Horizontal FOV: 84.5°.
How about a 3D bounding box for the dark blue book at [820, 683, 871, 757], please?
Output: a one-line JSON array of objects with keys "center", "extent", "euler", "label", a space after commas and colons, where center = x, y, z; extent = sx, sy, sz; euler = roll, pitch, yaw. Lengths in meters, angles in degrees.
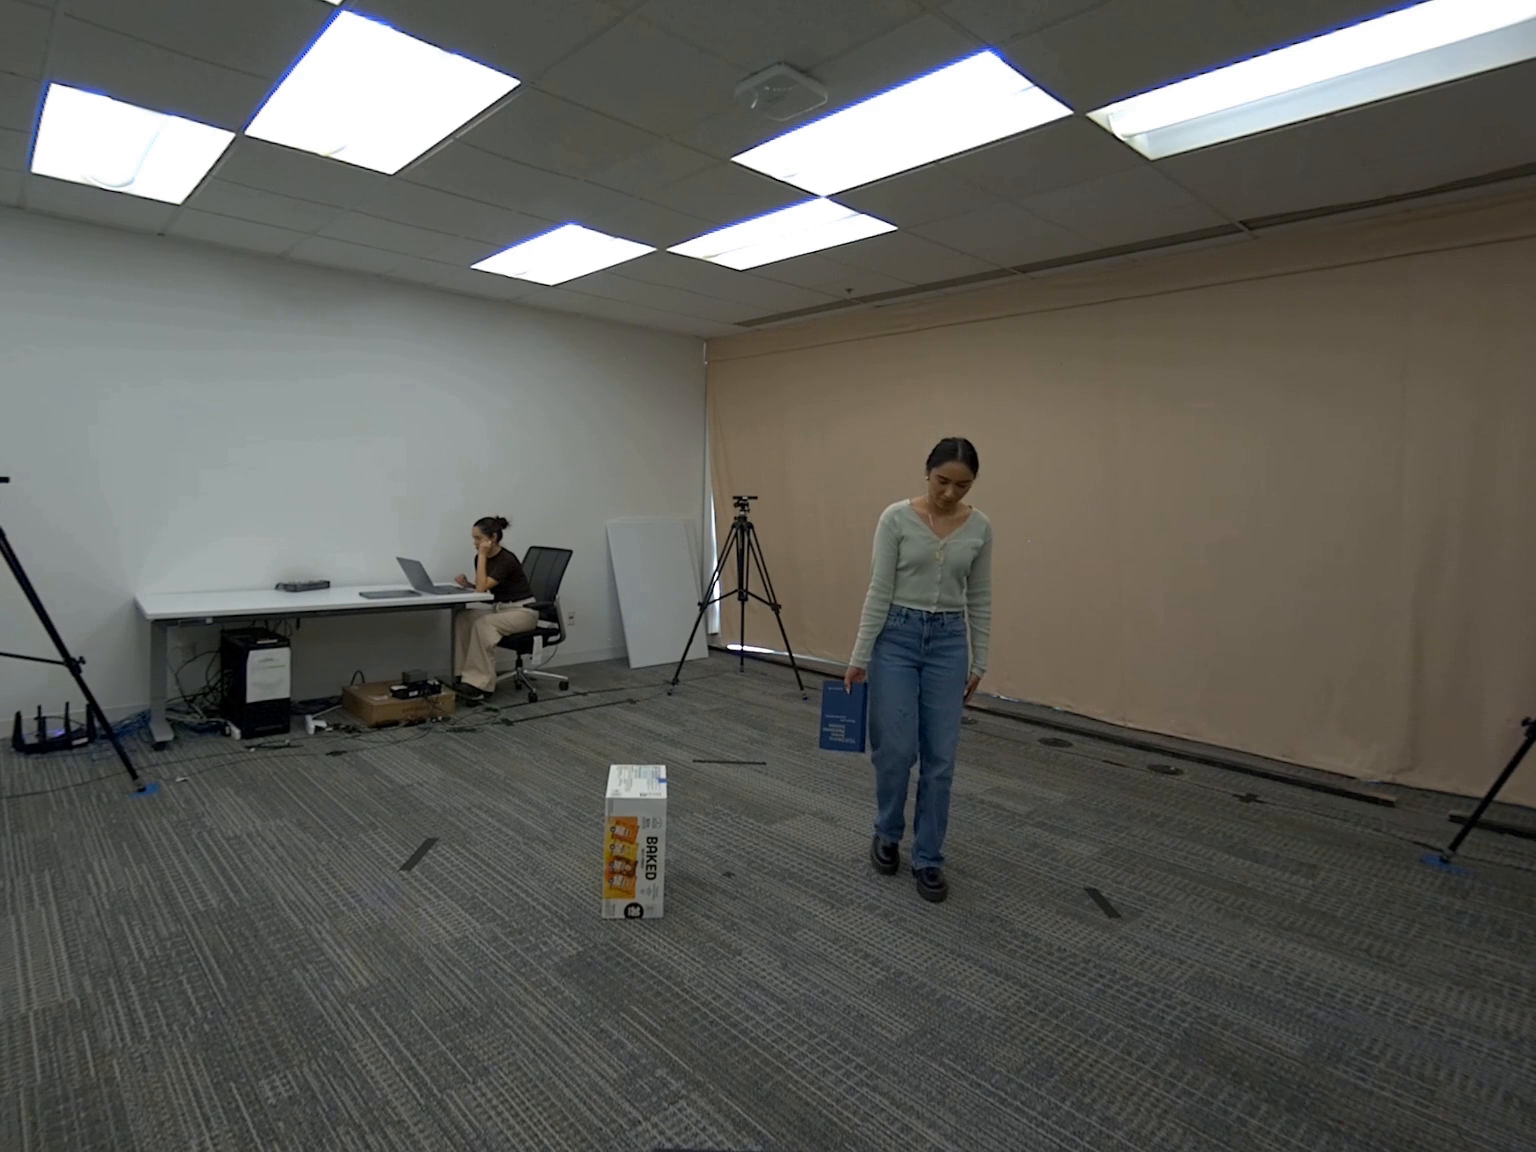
[{"center": [0.277, 0.503, 2.981], "extent": [0.165, 0.248, 0.044], "euler": [-7, -14, 13], "label": "dark blue book"}]
